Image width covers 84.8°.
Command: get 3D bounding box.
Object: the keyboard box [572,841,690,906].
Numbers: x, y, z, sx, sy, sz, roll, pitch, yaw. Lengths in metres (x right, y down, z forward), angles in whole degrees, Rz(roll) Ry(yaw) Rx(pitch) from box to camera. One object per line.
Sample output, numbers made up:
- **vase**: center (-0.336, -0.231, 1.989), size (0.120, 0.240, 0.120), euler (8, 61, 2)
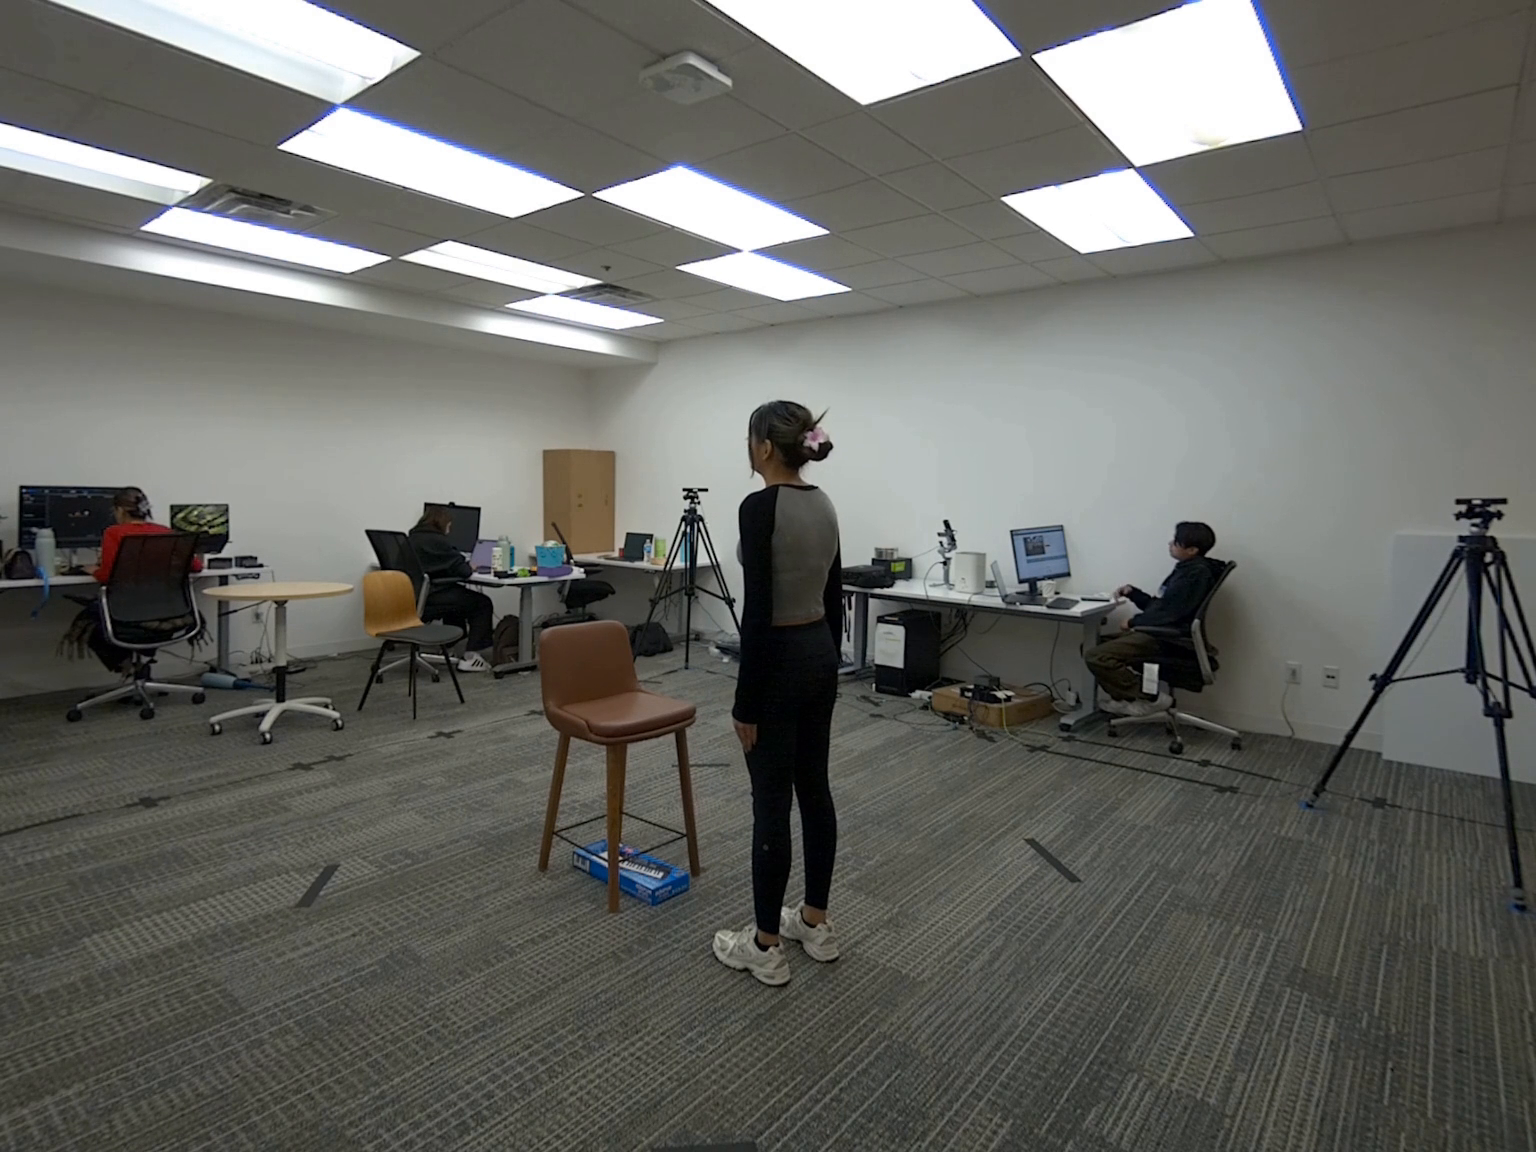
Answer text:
- **keyboard box**: center (-0.505, 1.045, 3.024), size (0.452, 0.059, 0.171), euler (5, 7, 41)
